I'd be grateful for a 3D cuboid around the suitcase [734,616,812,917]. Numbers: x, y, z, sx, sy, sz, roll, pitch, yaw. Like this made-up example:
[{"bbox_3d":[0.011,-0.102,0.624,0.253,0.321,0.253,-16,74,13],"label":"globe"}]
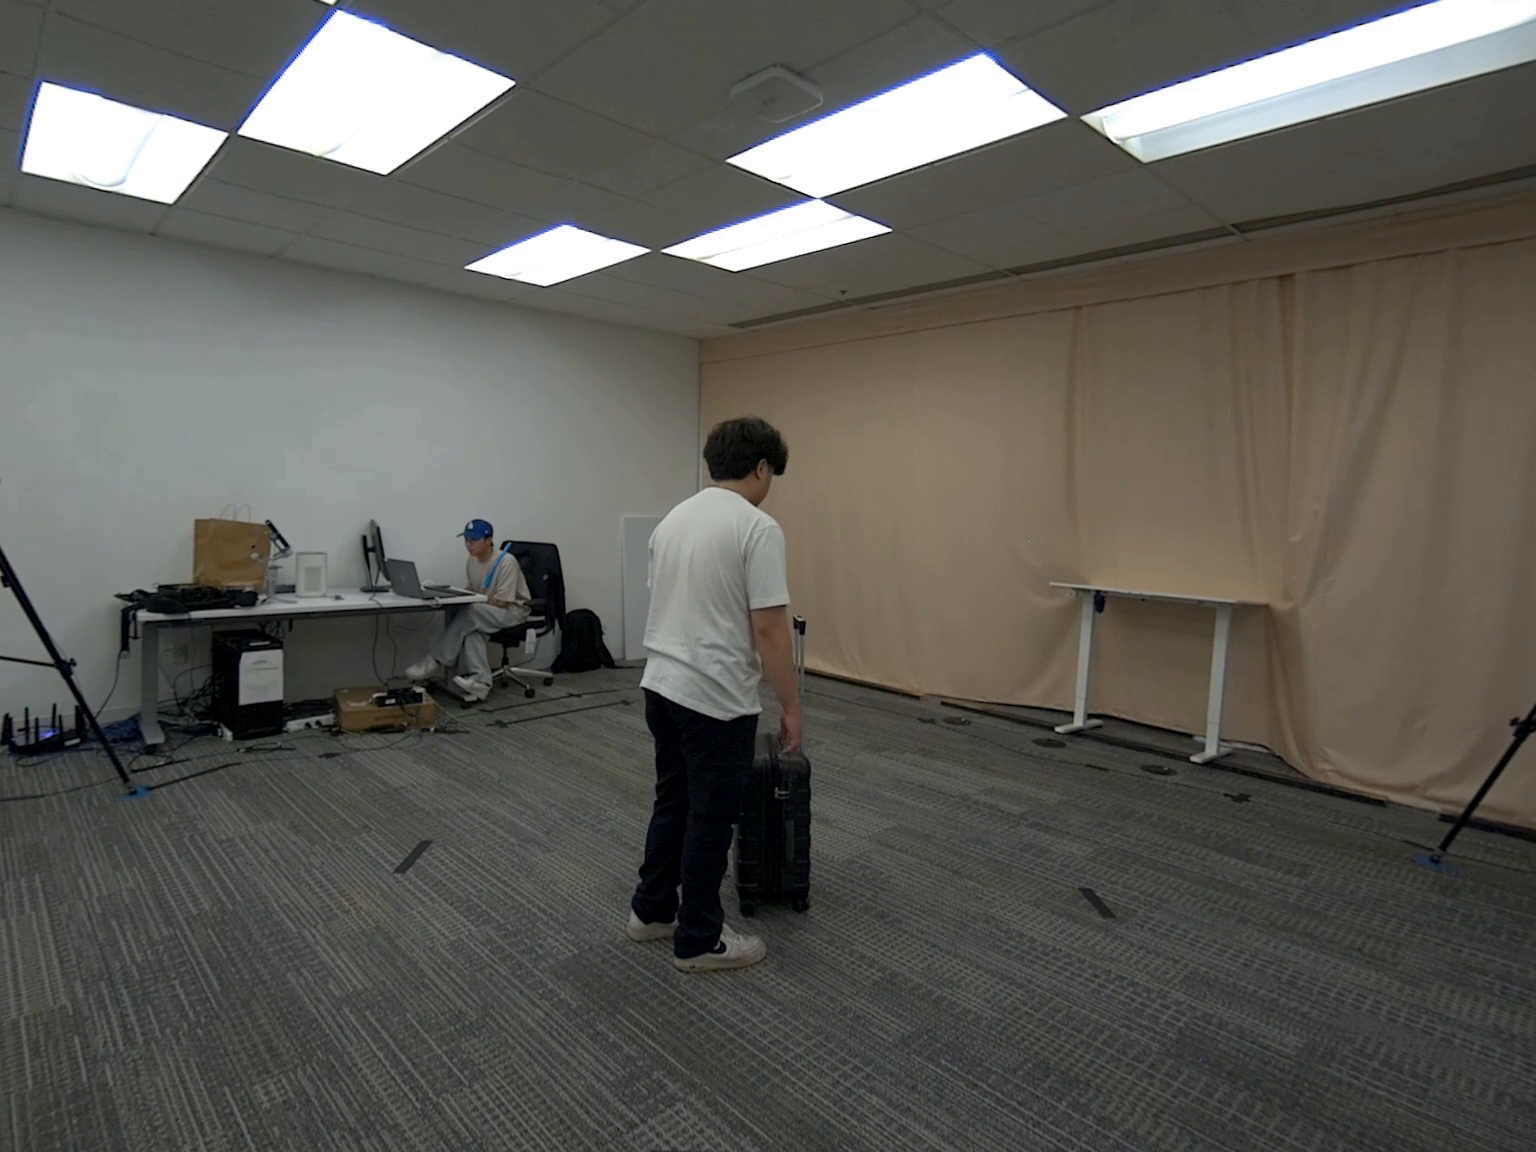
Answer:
[{"bbox_3d":[0.003,0.651,2.950,0.256,0.977,0.385,-2,3,-3],"label":"suitcase"}]
